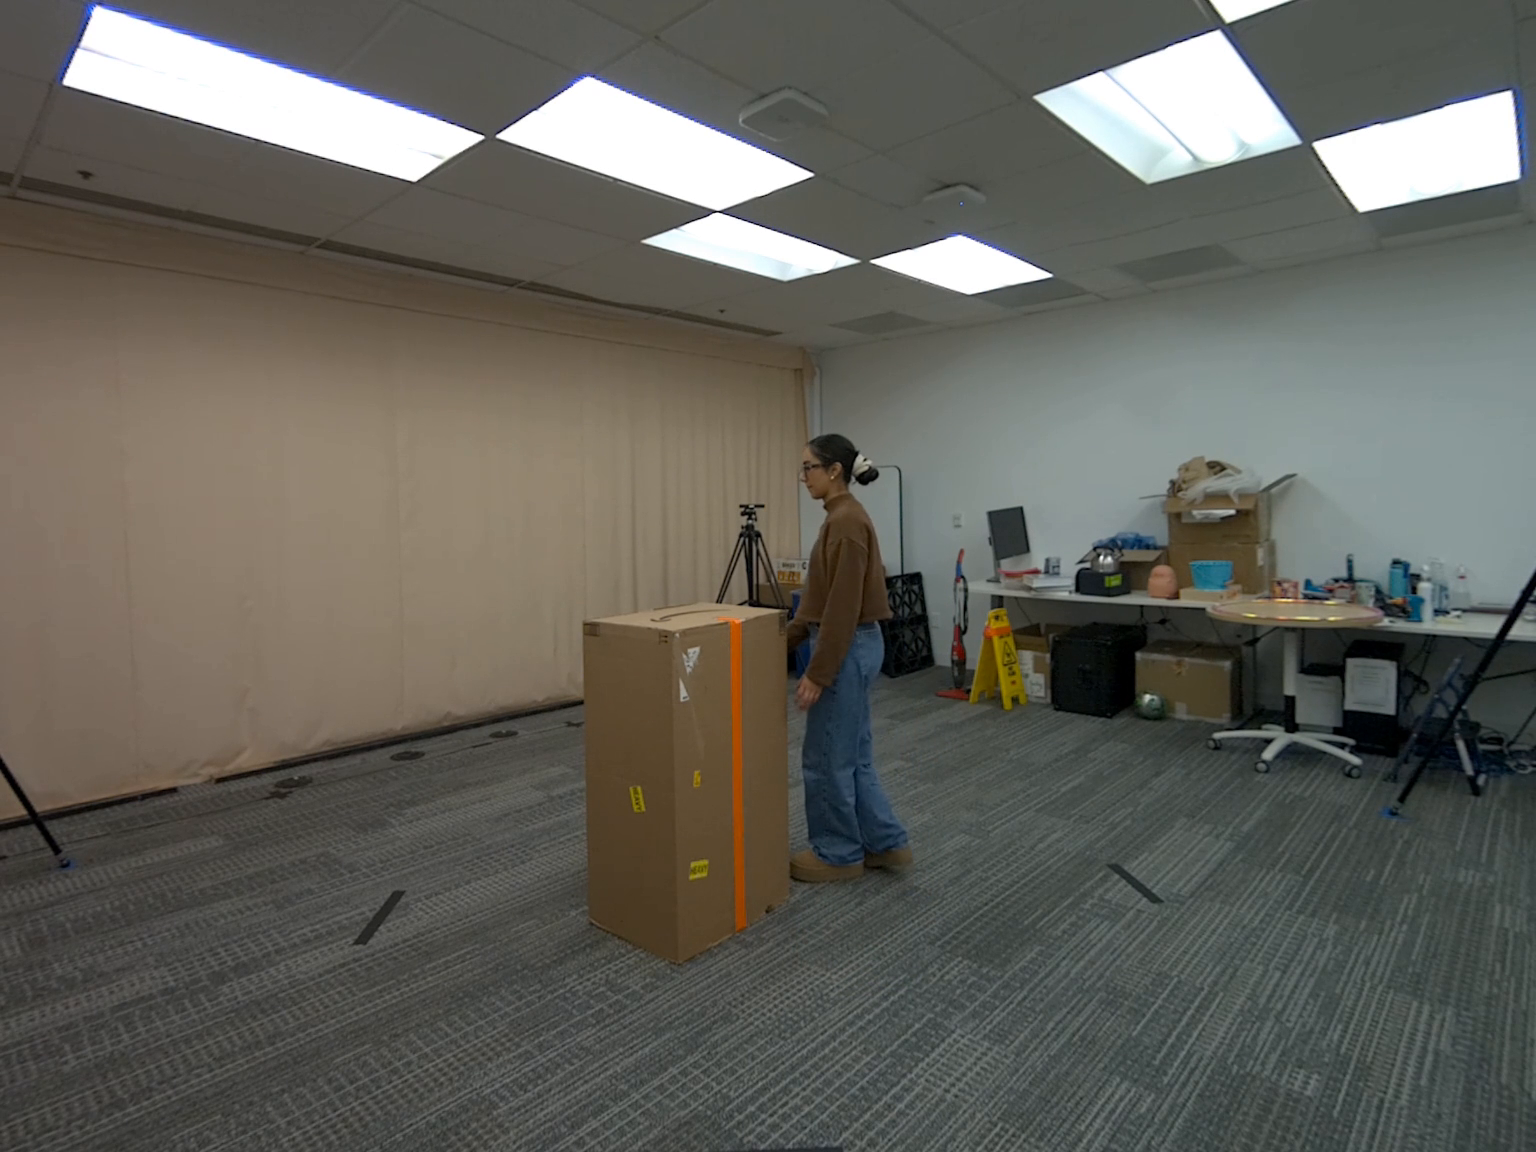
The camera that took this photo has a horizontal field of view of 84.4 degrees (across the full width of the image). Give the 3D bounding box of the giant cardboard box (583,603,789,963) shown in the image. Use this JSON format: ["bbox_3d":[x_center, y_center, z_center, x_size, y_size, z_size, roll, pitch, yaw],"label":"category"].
[{"bbox_3d":[-0.266,0.647,2.873,0.440,1.024,0.560,2,4,40],"label":"giant cardboard box"}]
